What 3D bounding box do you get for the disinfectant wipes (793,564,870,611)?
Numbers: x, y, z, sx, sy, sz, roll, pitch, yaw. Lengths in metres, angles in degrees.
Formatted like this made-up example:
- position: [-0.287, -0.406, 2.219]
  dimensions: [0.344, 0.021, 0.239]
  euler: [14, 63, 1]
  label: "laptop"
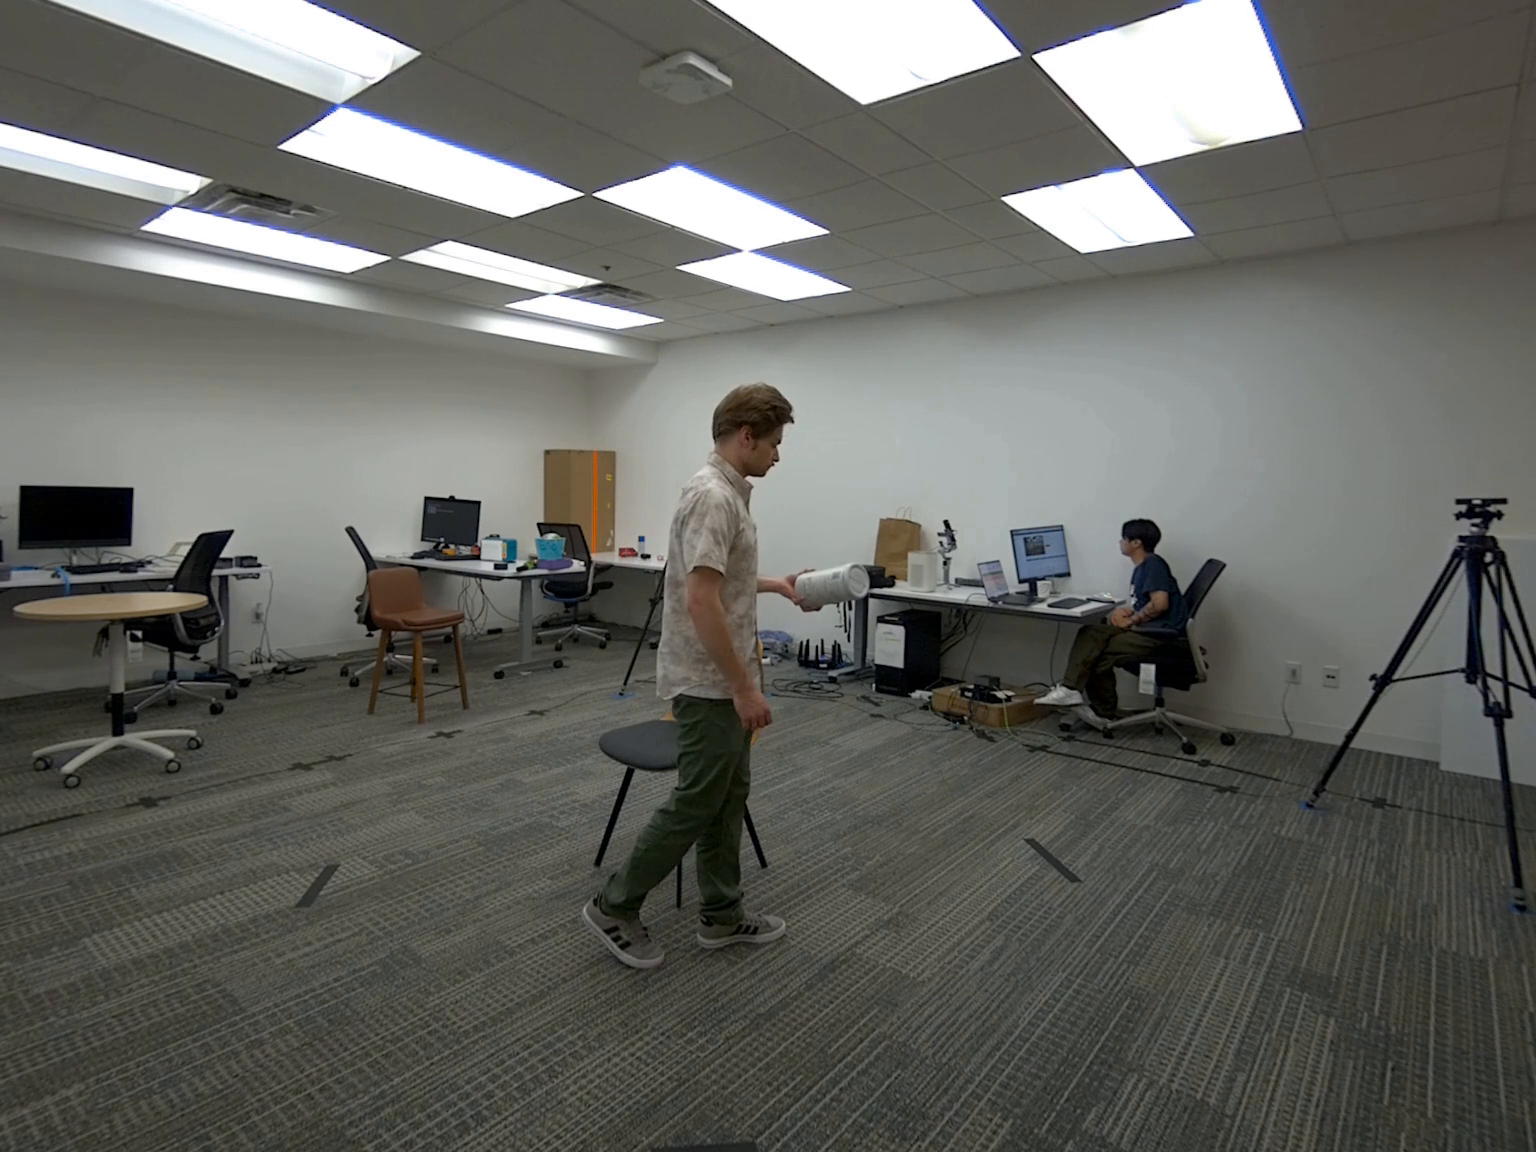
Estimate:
- position: [0.184, 0.028, 2.580]
  dimensions: [0.114, 0.119, 0.222]
  euler: [-3, -9, -44]
  label: "disinfectant wipes"
